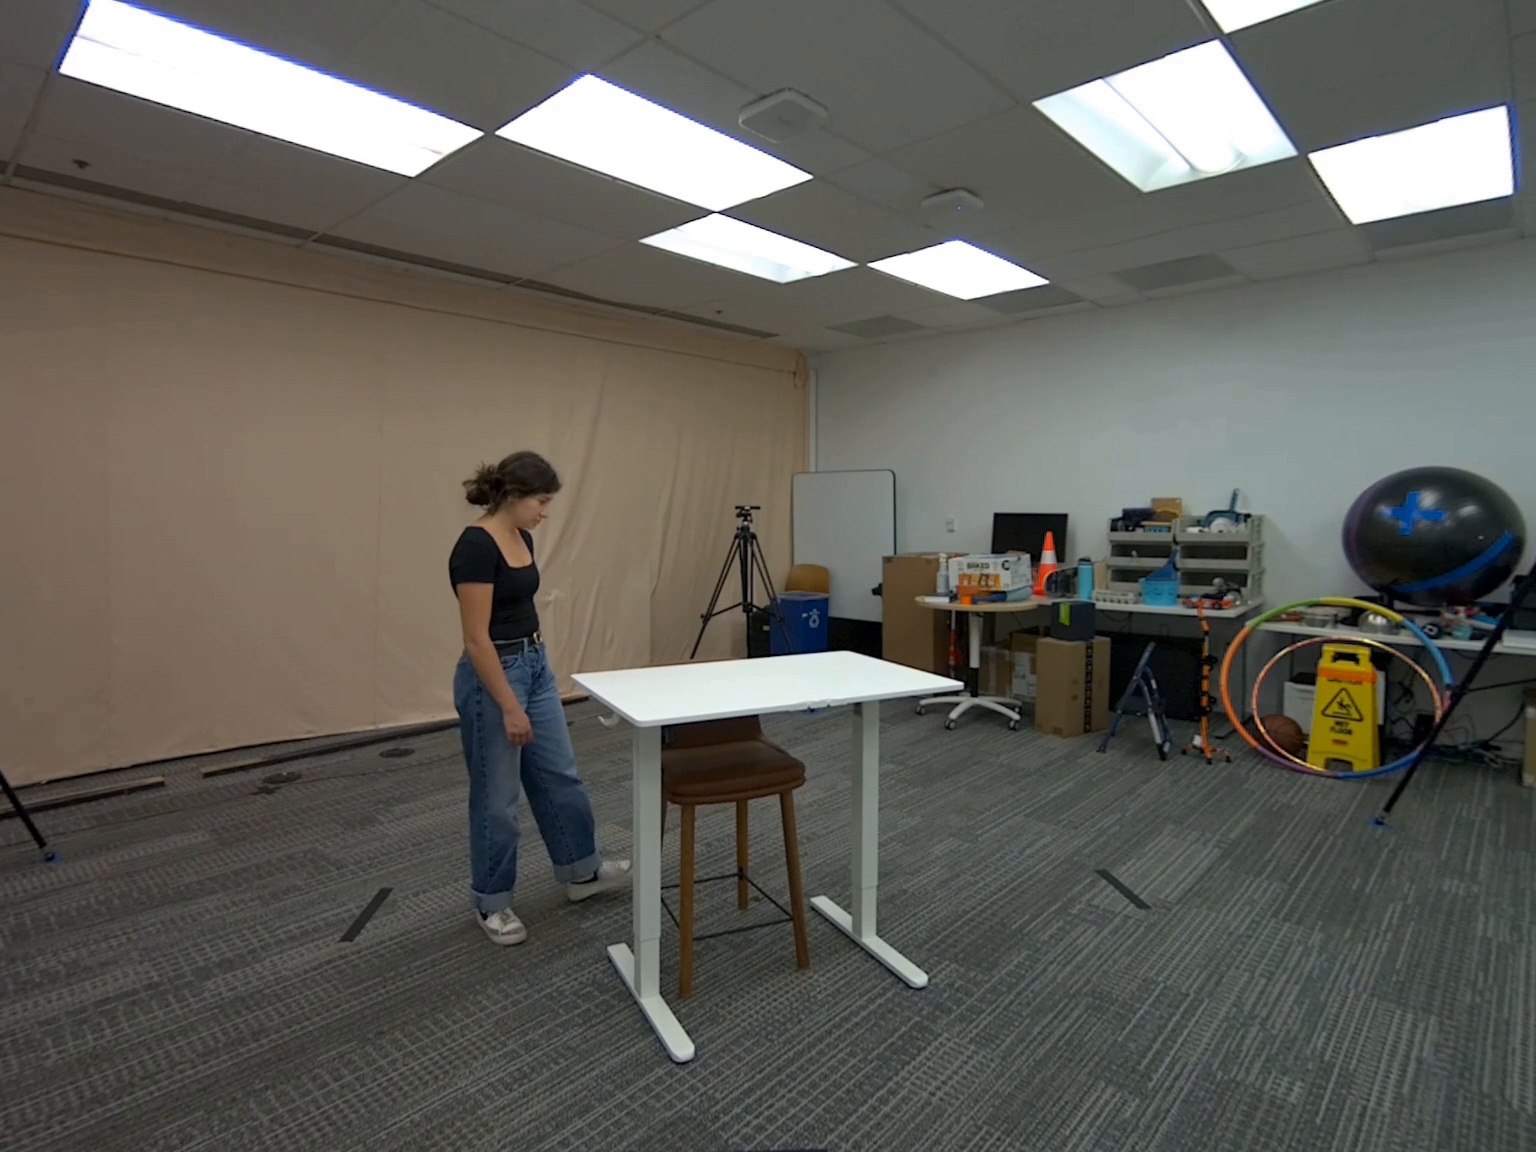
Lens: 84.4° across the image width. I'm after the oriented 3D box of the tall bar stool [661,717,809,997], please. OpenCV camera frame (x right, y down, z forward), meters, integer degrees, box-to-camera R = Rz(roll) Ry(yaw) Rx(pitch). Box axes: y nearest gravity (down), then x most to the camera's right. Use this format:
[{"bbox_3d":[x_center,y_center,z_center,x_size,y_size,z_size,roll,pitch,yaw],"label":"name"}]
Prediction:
[{"bbox_3d":[-0.161,0.748,2.636,0.446,0.889,0.479,-2,1,-24],"label":"tall bar stool"}]
